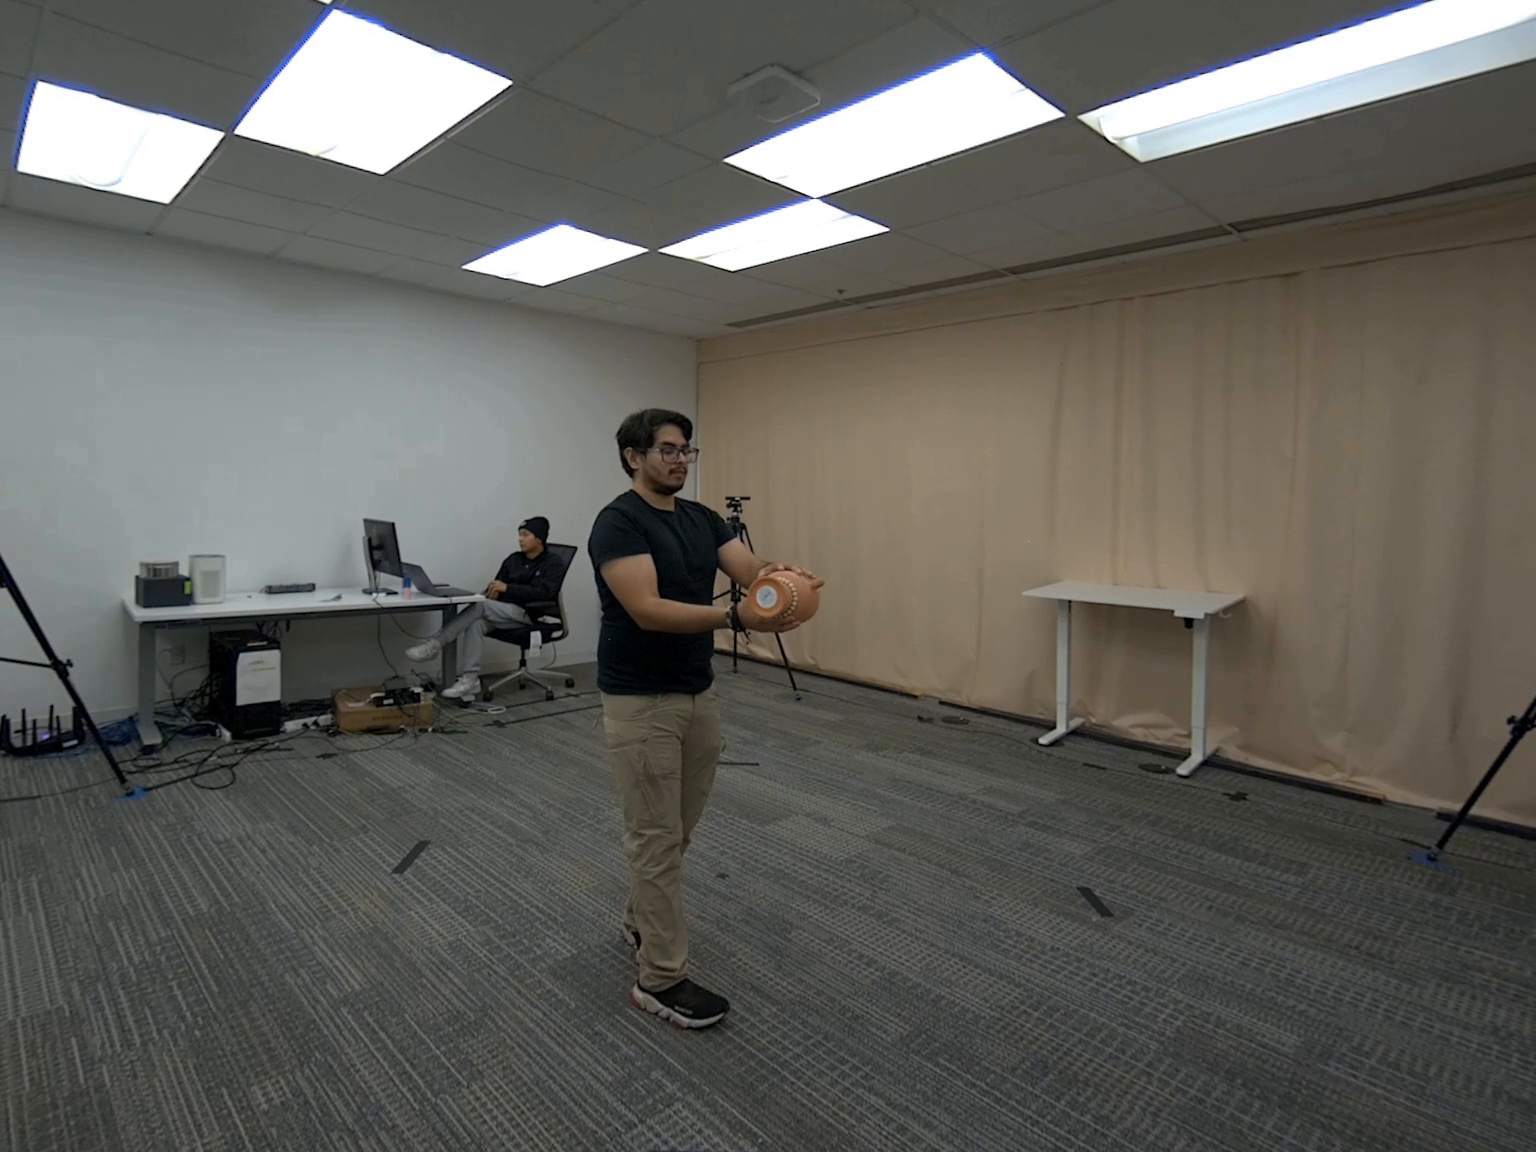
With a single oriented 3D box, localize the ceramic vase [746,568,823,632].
[{"bbox_3d":[0.017,0.053,2.028,0.137,0.158,0.216,25,6,19],"label":"ceramic vase"}]
